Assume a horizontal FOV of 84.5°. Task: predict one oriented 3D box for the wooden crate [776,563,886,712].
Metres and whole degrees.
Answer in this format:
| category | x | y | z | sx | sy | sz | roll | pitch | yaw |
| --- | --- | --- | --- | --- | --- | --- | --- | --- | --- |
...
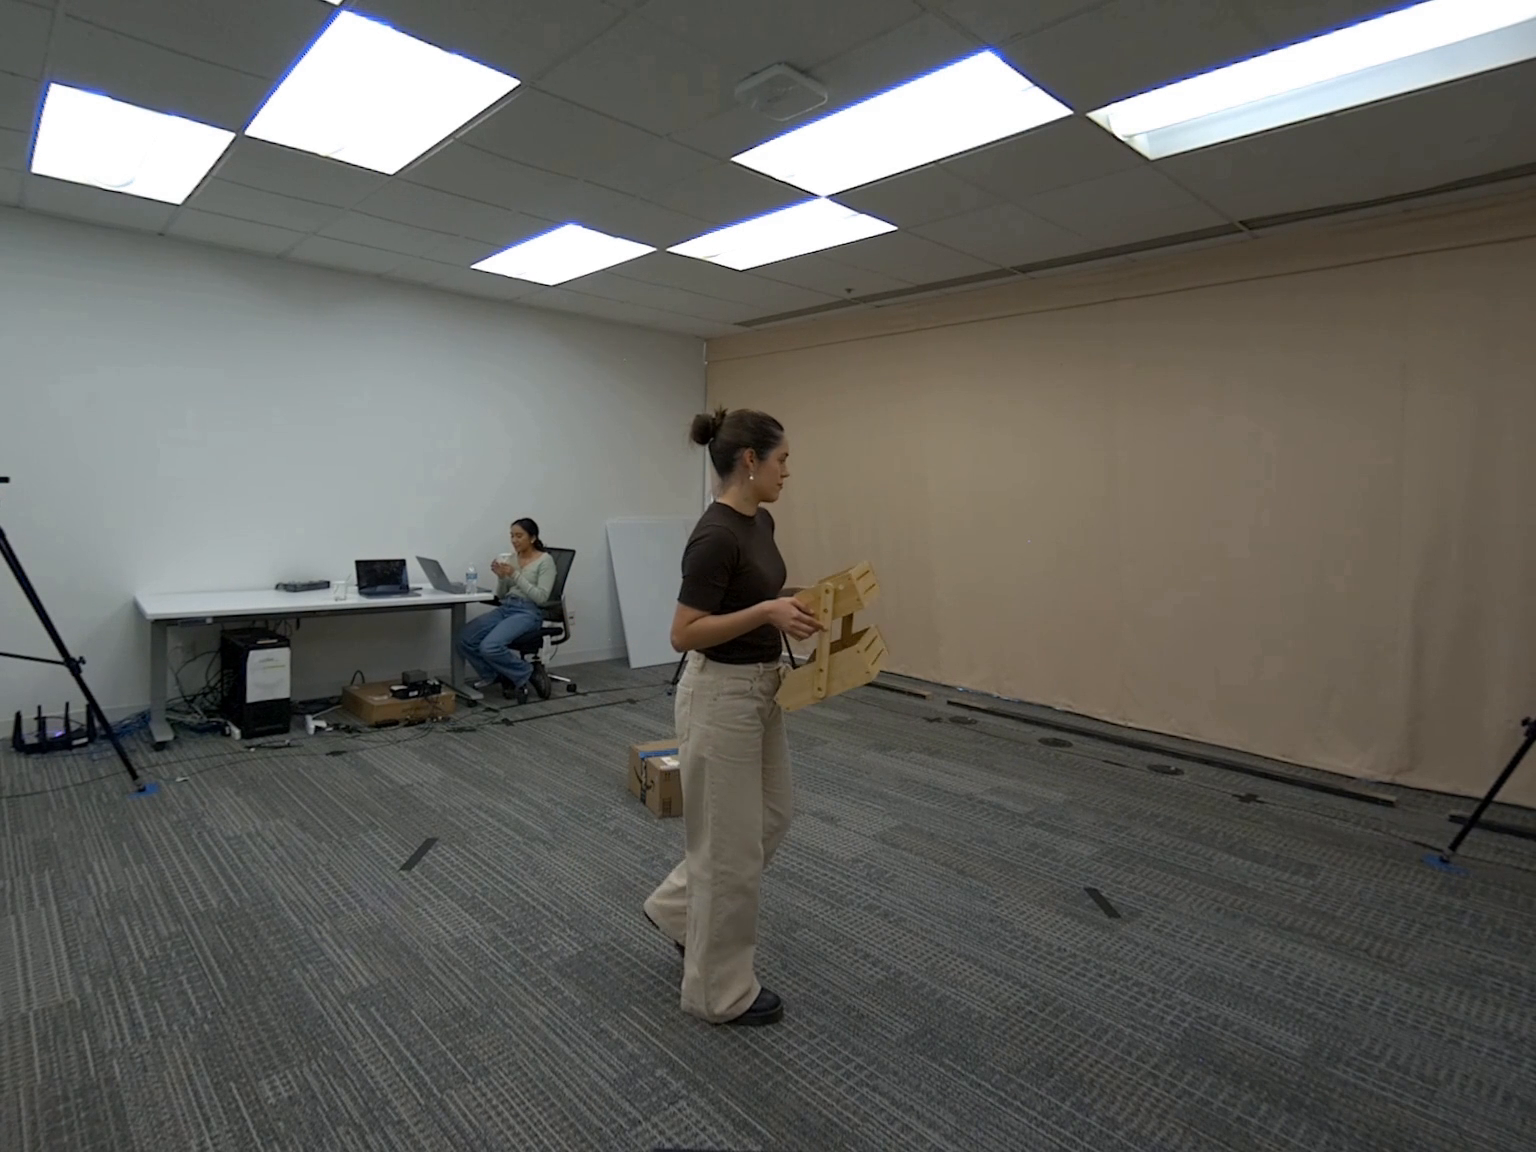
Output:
| category | x | y | z | sx | sy | sz | roll | pitch | yaw |
| --- | --- | --- | --- | --- | --- | --- | --- | --- | --- |
| wooden crate | 0.133 | 0.147 | 2.167 | 0.304 | 0.274 | 0.321 | -24 | -1 | 17 |
